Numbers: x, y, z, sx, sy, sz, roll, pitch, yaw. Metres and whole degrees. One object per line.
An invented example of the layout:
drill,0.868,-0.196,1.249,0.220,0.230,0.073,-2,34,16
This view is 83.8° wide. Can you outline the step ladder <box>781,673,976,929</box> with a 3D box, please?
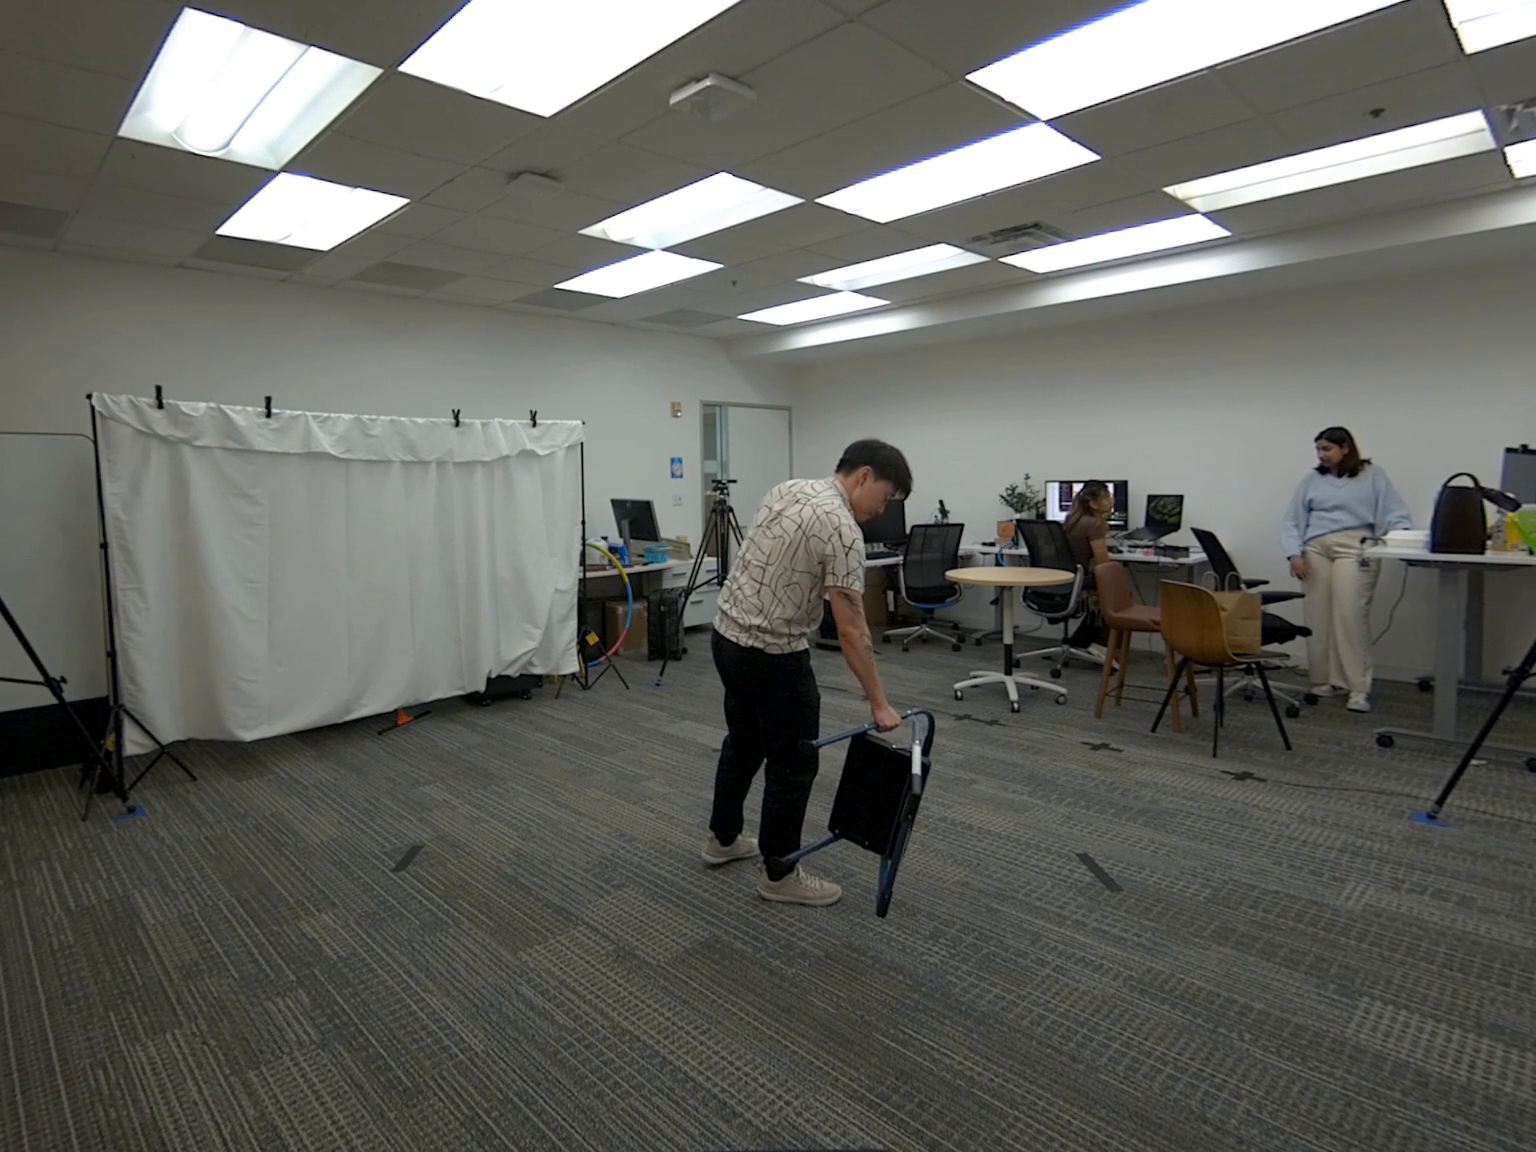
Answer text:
step ladder,0.340,0.643,2.622,0.358,0.425,0.598,19,20,21
